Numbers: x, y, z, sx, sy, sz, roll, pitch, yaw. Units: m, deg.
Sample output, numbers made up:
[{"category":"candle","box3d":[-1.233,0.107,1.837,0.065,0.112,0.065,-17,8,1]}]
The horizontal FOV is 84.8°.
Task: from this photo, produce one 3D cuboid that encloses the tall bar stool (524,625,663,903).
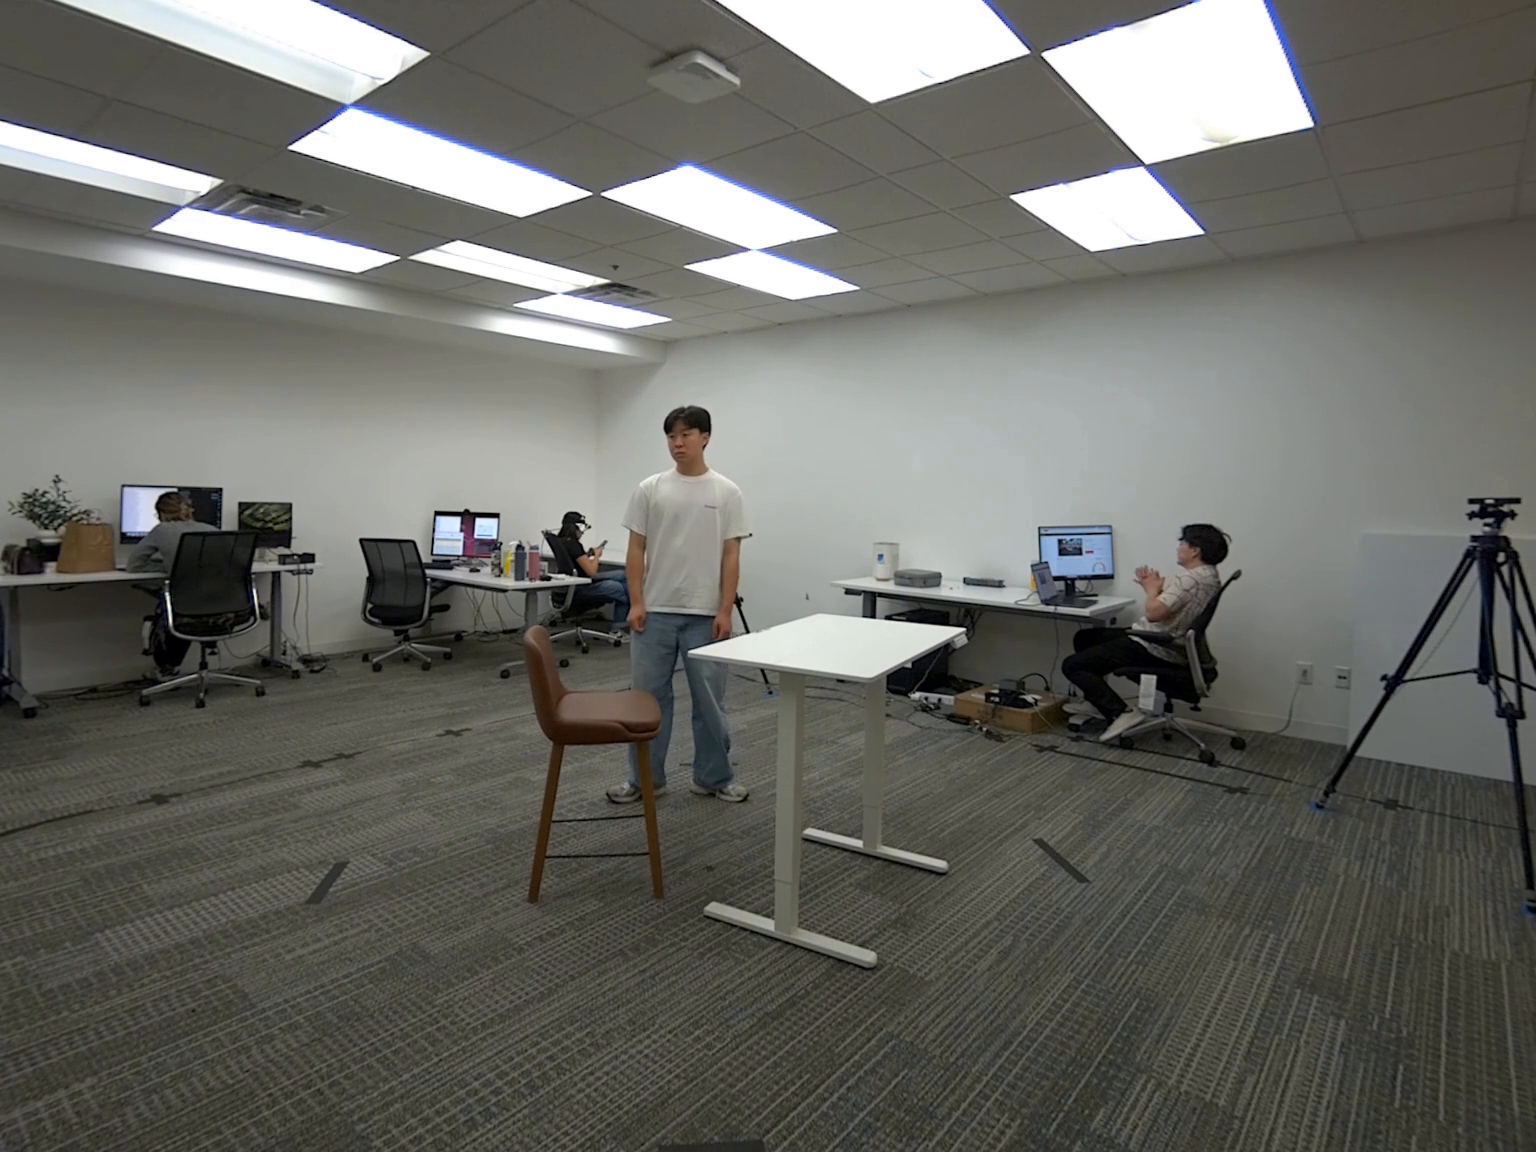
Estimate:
[{"category":"tall bar stool","box3d":[-0.623,0.633,3.024,0.463,0.887,0.463,-2,3,-11]}]
